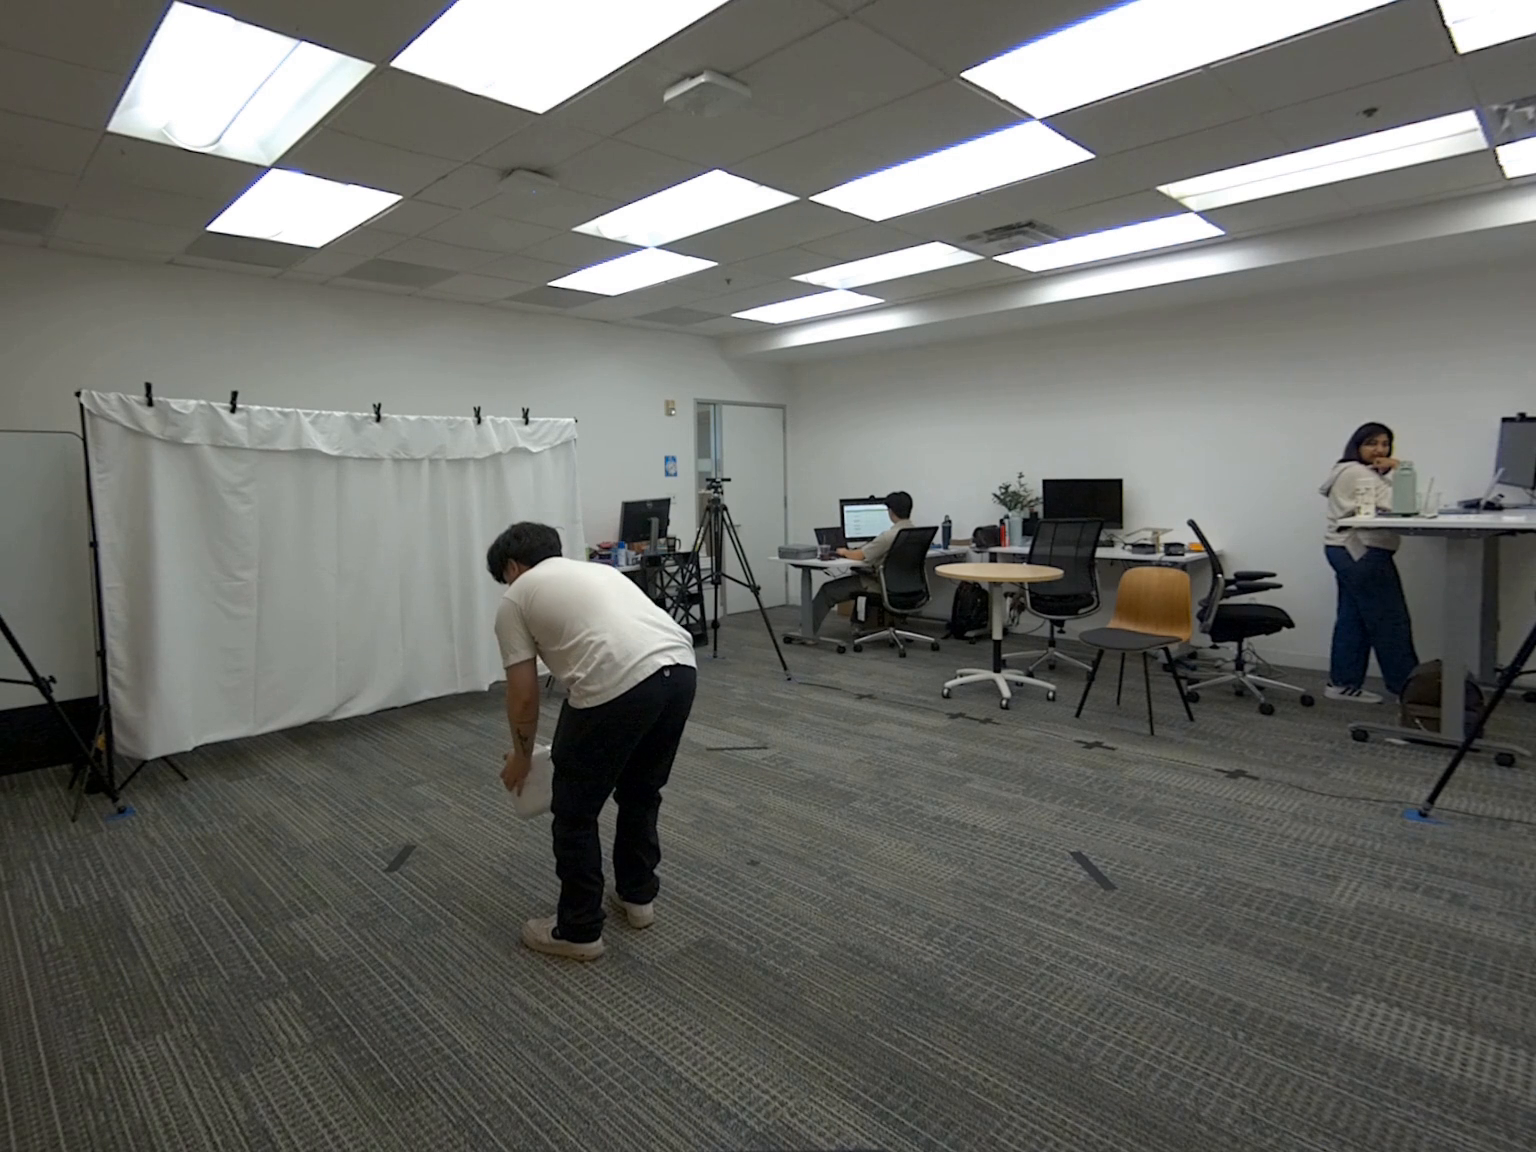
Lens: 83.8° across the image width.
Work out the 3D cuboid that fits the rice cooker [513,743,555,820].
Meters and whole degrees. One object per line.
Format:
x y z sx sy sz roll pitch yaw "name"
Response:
-0.767 0.675 2.890 0.219 0.235 0.216 -22 -9 15 "rice cooker"
